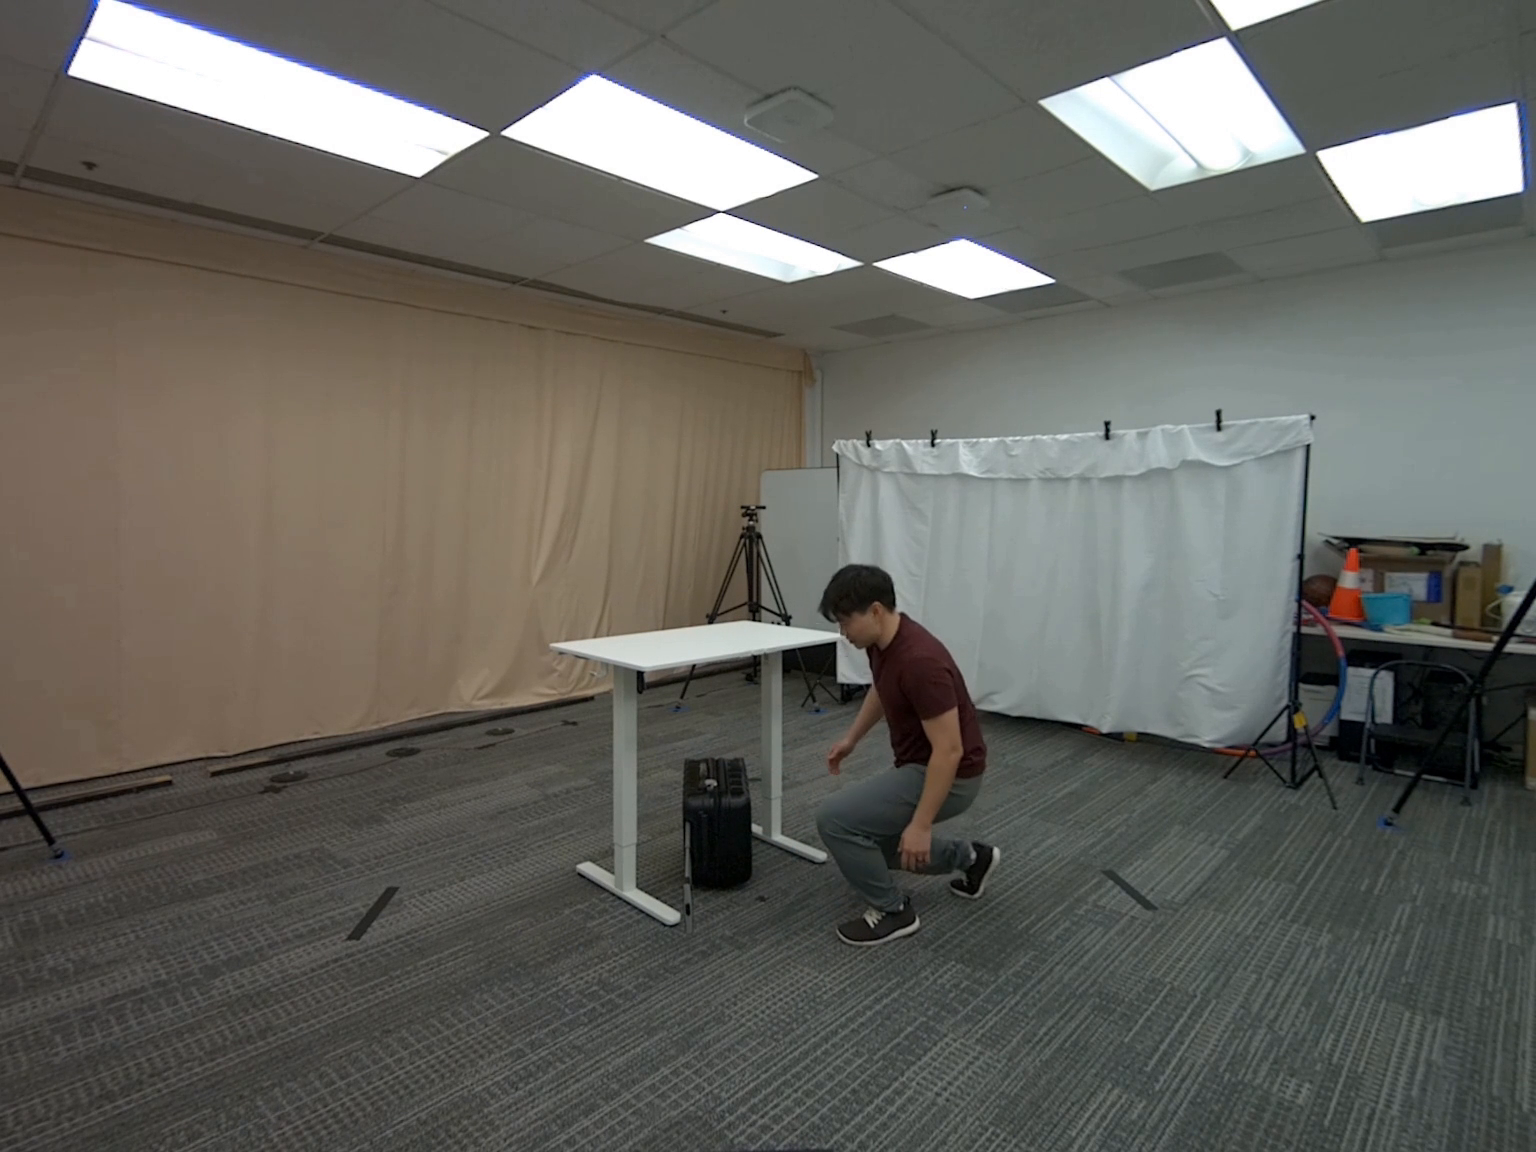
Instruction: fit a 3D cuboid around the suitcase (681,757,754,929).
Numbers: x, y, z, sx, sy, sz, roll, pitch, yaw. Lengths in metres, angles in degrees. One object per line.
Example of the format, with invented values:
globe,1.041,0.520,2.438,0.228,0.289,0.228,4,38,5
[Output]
suitcase,-0.167,0.949,3.049,0.255,0.383,0.987,-1,5,-7
